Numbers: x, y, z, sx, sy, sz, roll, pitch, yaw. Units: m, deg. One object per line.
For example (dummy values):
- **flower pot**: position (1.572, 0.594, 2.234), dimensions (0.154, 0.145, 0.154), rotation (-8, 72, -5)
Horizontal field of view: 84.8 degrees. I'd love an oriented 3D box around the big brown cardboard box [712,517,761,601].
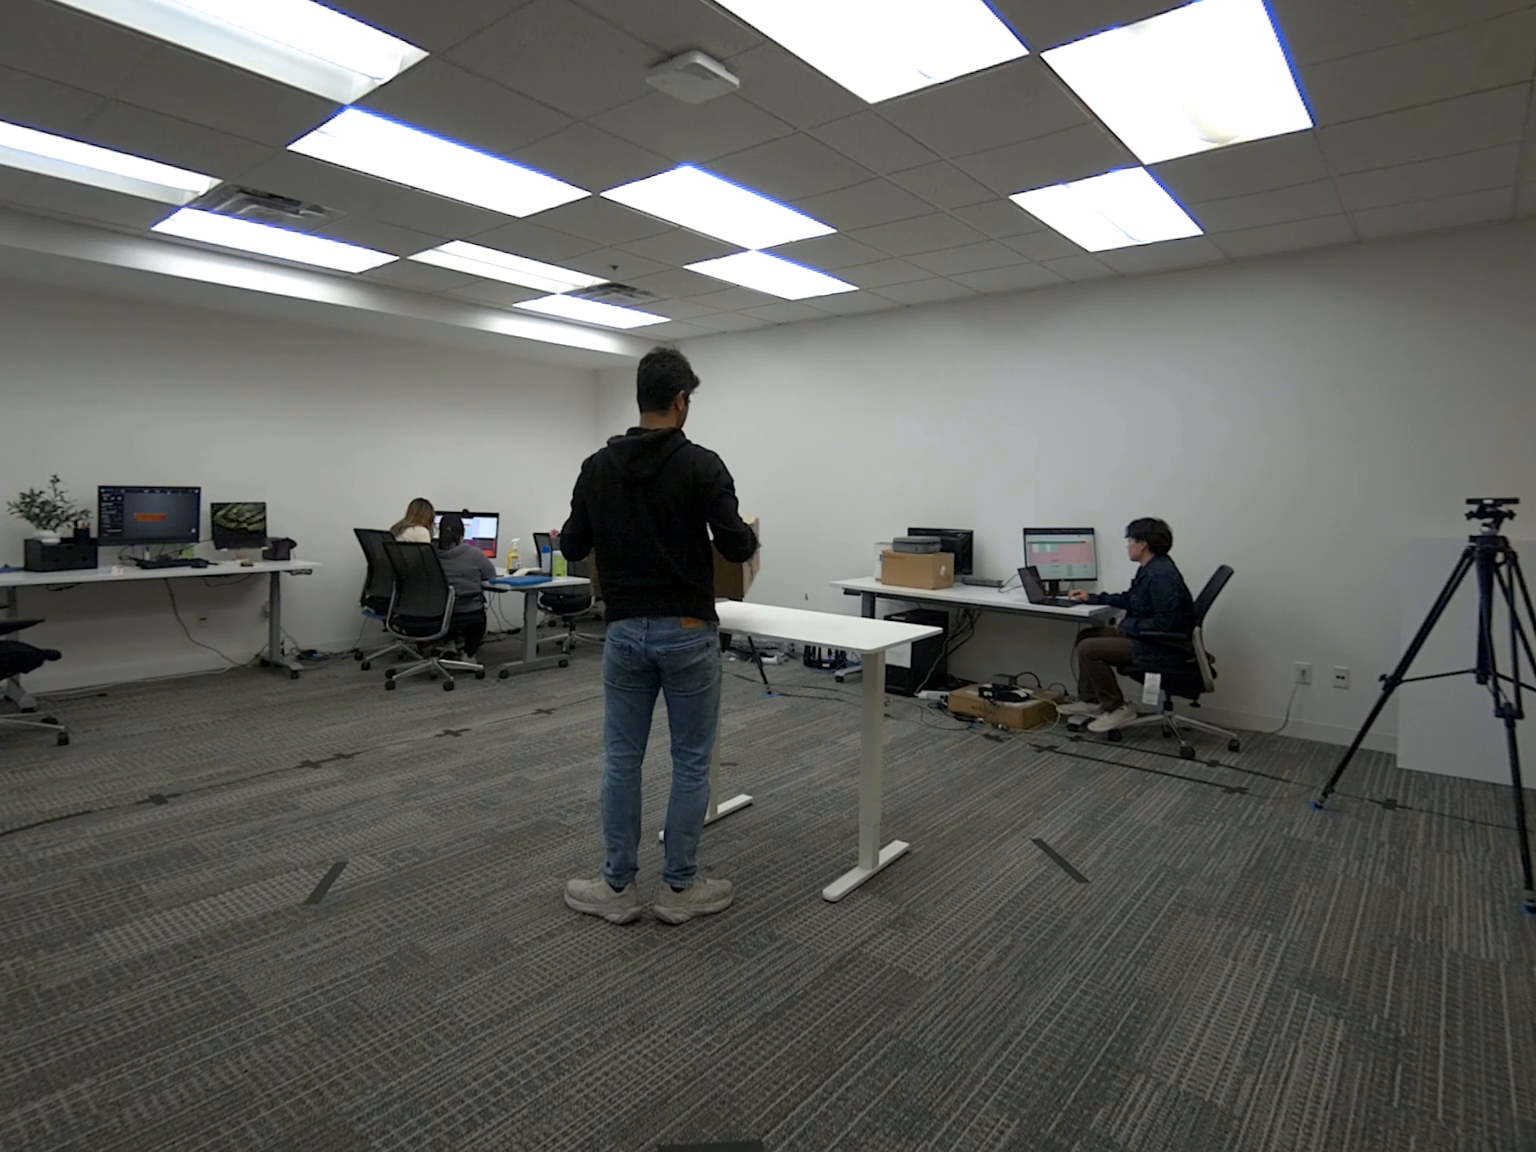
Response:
- **big brown cardboard box**: position (-0.355, -0.083, 3.206), dimensions (0.594, 0.230, 0.419), rotation (1, 13, 7)
